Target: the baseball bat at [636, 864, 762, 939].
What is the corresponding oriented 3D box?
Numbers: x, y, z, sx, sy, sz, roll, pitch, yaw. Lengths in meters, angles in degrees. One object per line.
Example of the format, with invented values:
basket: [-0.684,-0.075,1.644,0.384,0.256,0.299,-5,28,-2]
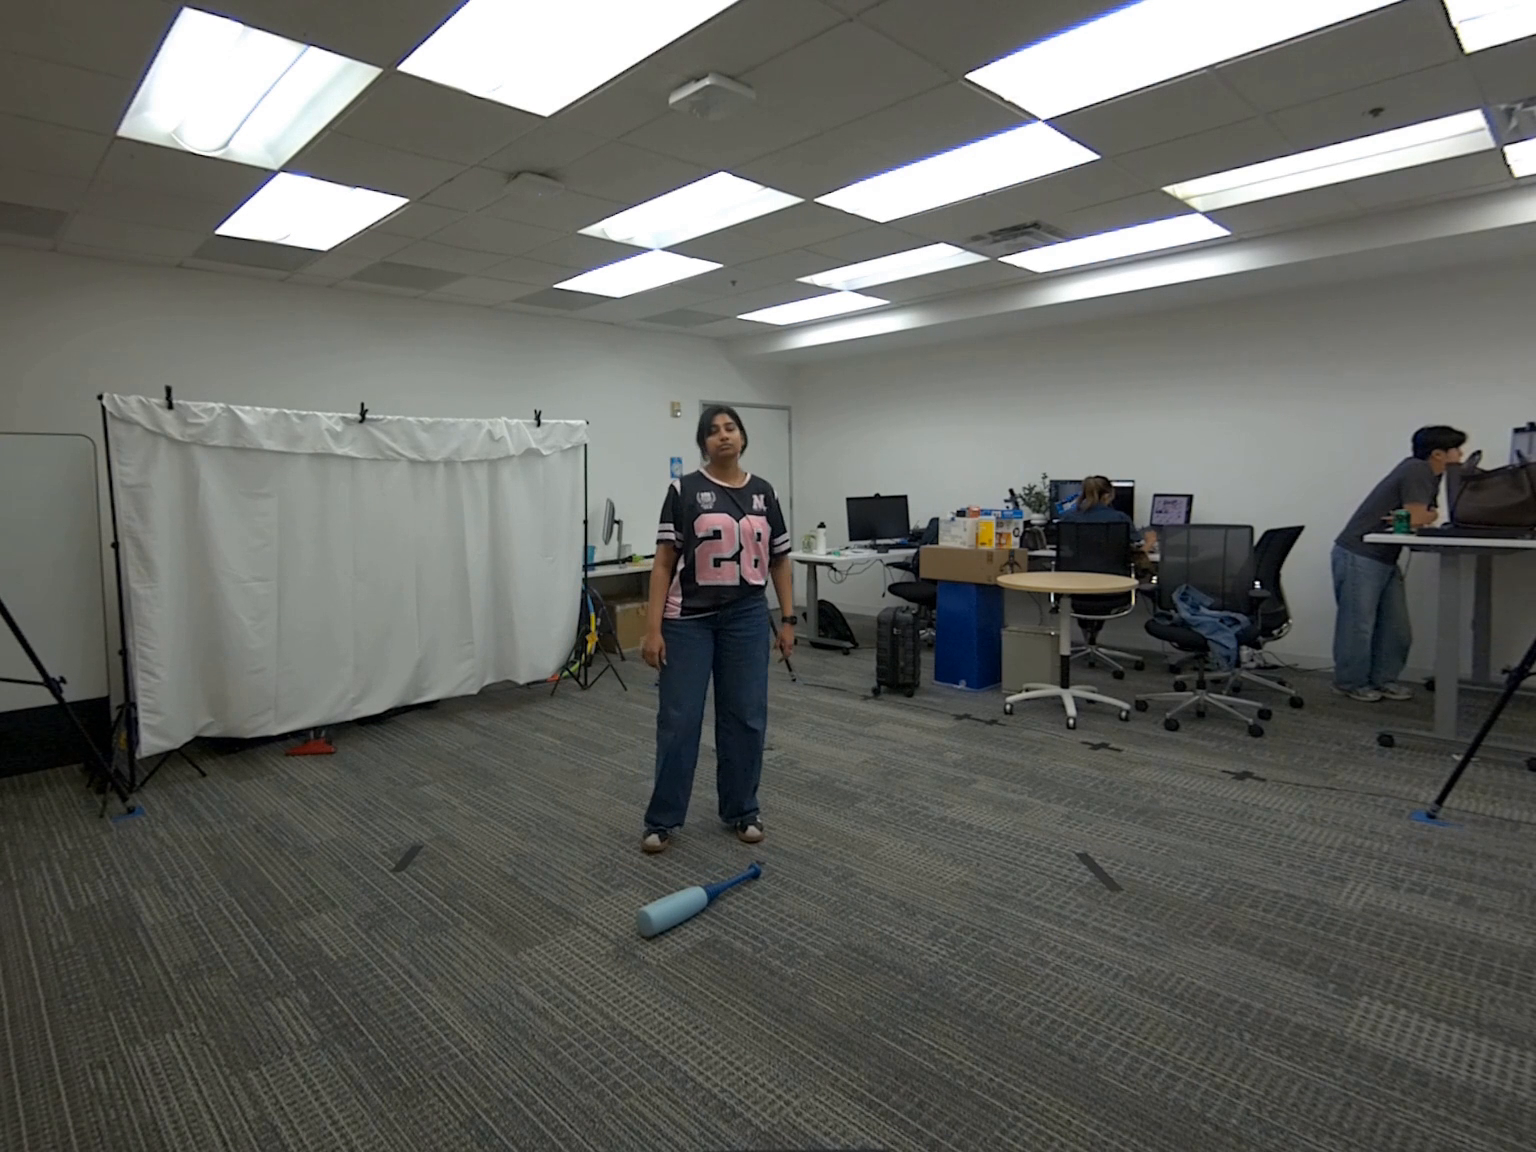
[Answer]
baseball bat: [-0.206,1.052,2.802,0.092,0.089,0.529,3,6,40]
